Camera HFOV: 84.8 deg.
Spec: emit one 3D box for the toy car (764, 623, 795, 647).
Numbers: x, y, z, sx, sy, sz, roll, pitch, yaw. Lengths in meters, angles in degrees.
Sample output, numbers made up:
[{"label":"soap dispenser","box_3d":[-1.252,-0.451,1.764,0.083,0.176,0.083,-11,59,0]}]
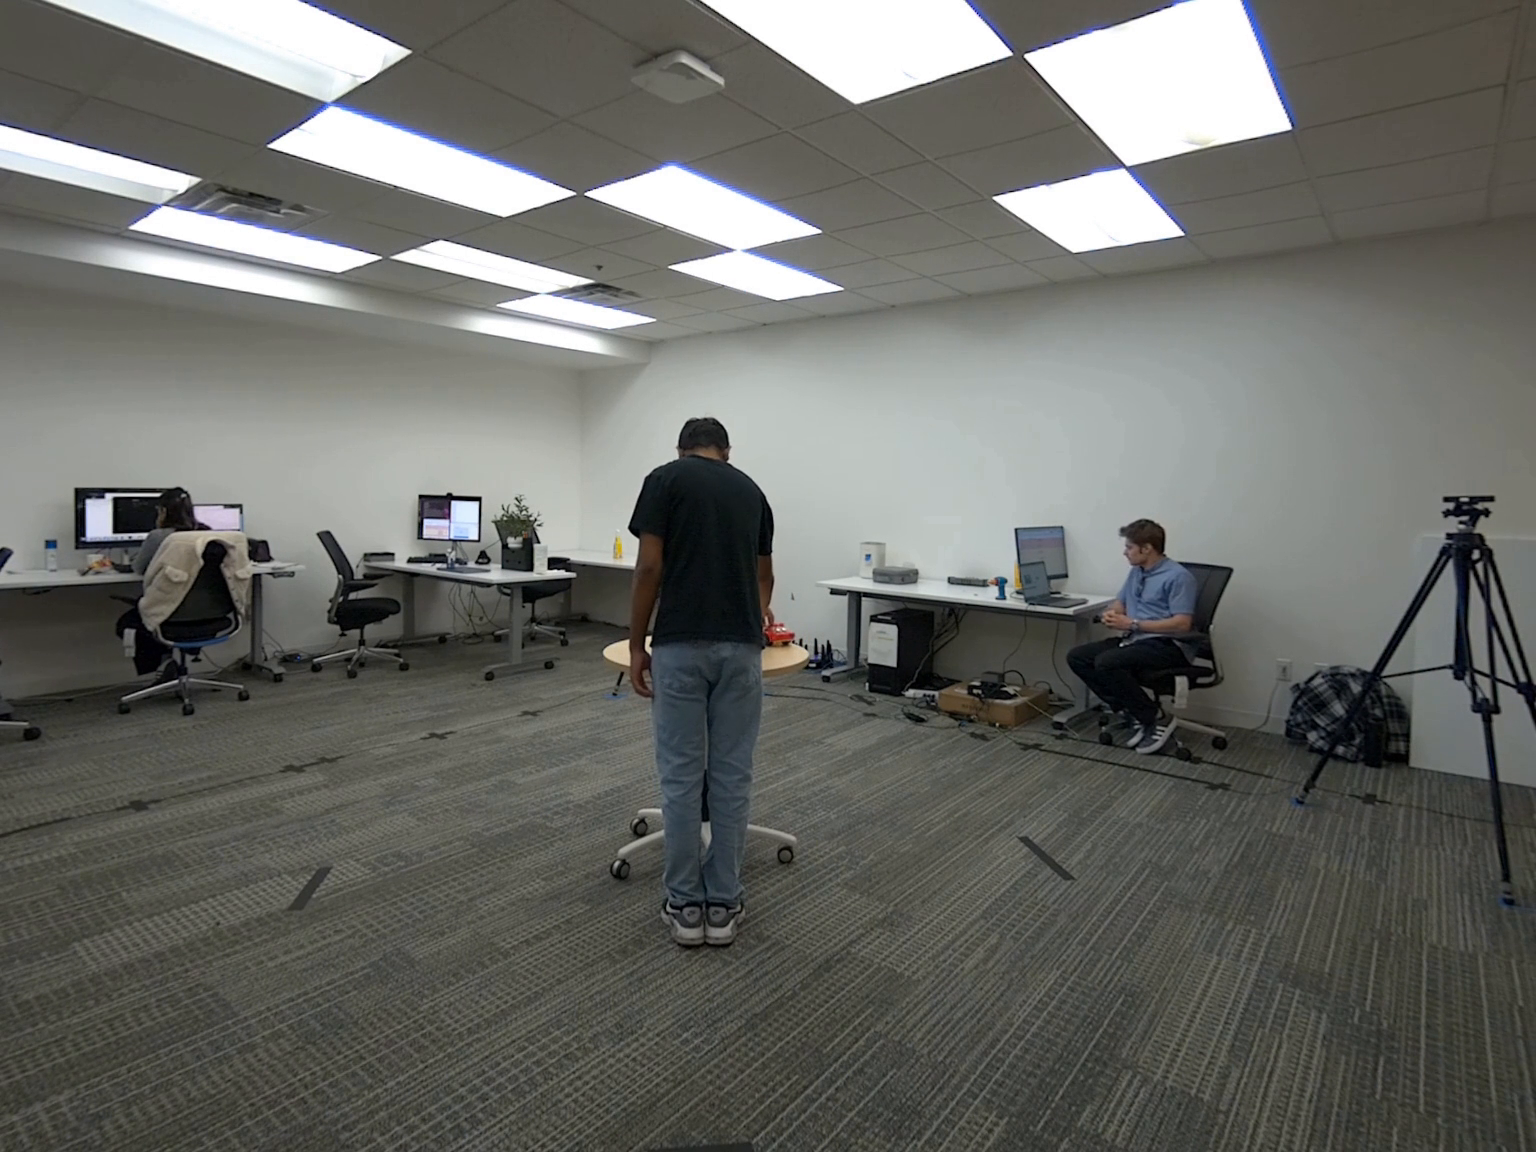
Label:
[{"label":"toy car","box_3d":[0.000,0.231,3.366,0.127,0.084,0.260,-2,-5,-31]}]
